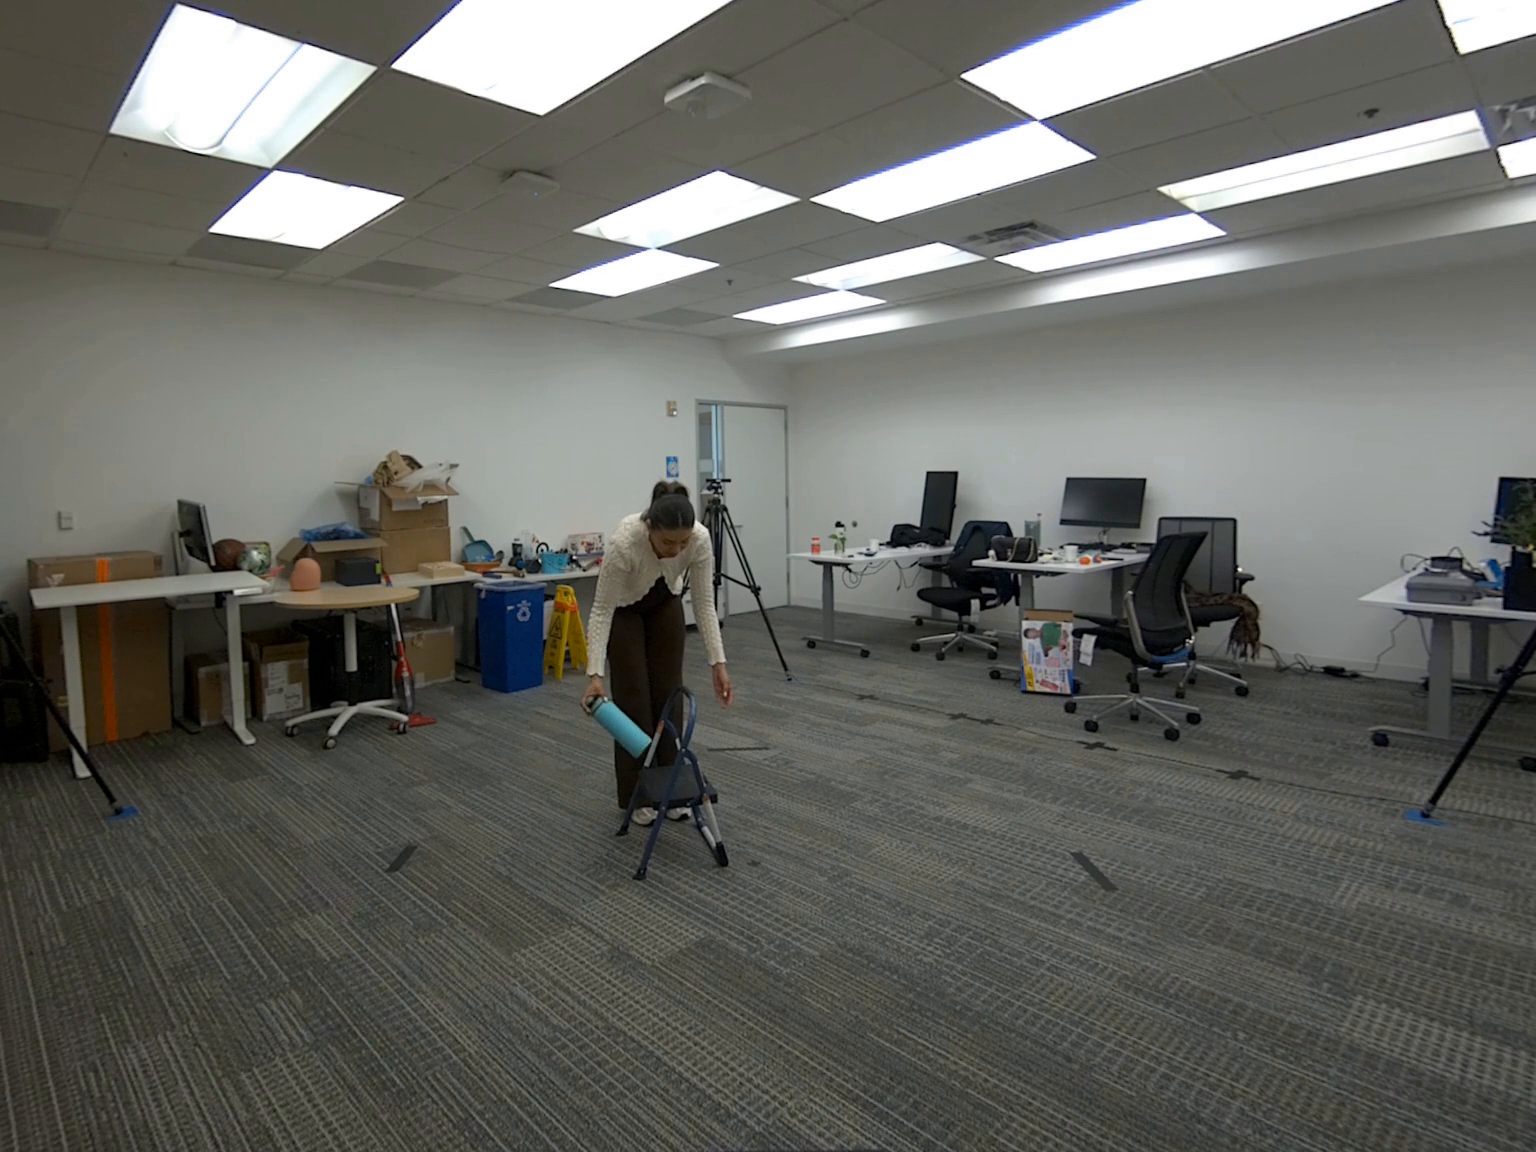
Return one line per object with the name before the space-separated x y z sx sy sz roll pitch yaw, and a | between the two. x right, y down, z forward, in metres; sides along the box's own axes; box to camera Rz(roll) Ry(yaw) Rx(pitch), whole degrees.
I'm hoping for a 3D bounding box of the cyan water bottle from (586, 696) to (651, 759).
cyan water bottle | -0.569 0.558 3.211 0.287 0.092 0.091 44 13 8
